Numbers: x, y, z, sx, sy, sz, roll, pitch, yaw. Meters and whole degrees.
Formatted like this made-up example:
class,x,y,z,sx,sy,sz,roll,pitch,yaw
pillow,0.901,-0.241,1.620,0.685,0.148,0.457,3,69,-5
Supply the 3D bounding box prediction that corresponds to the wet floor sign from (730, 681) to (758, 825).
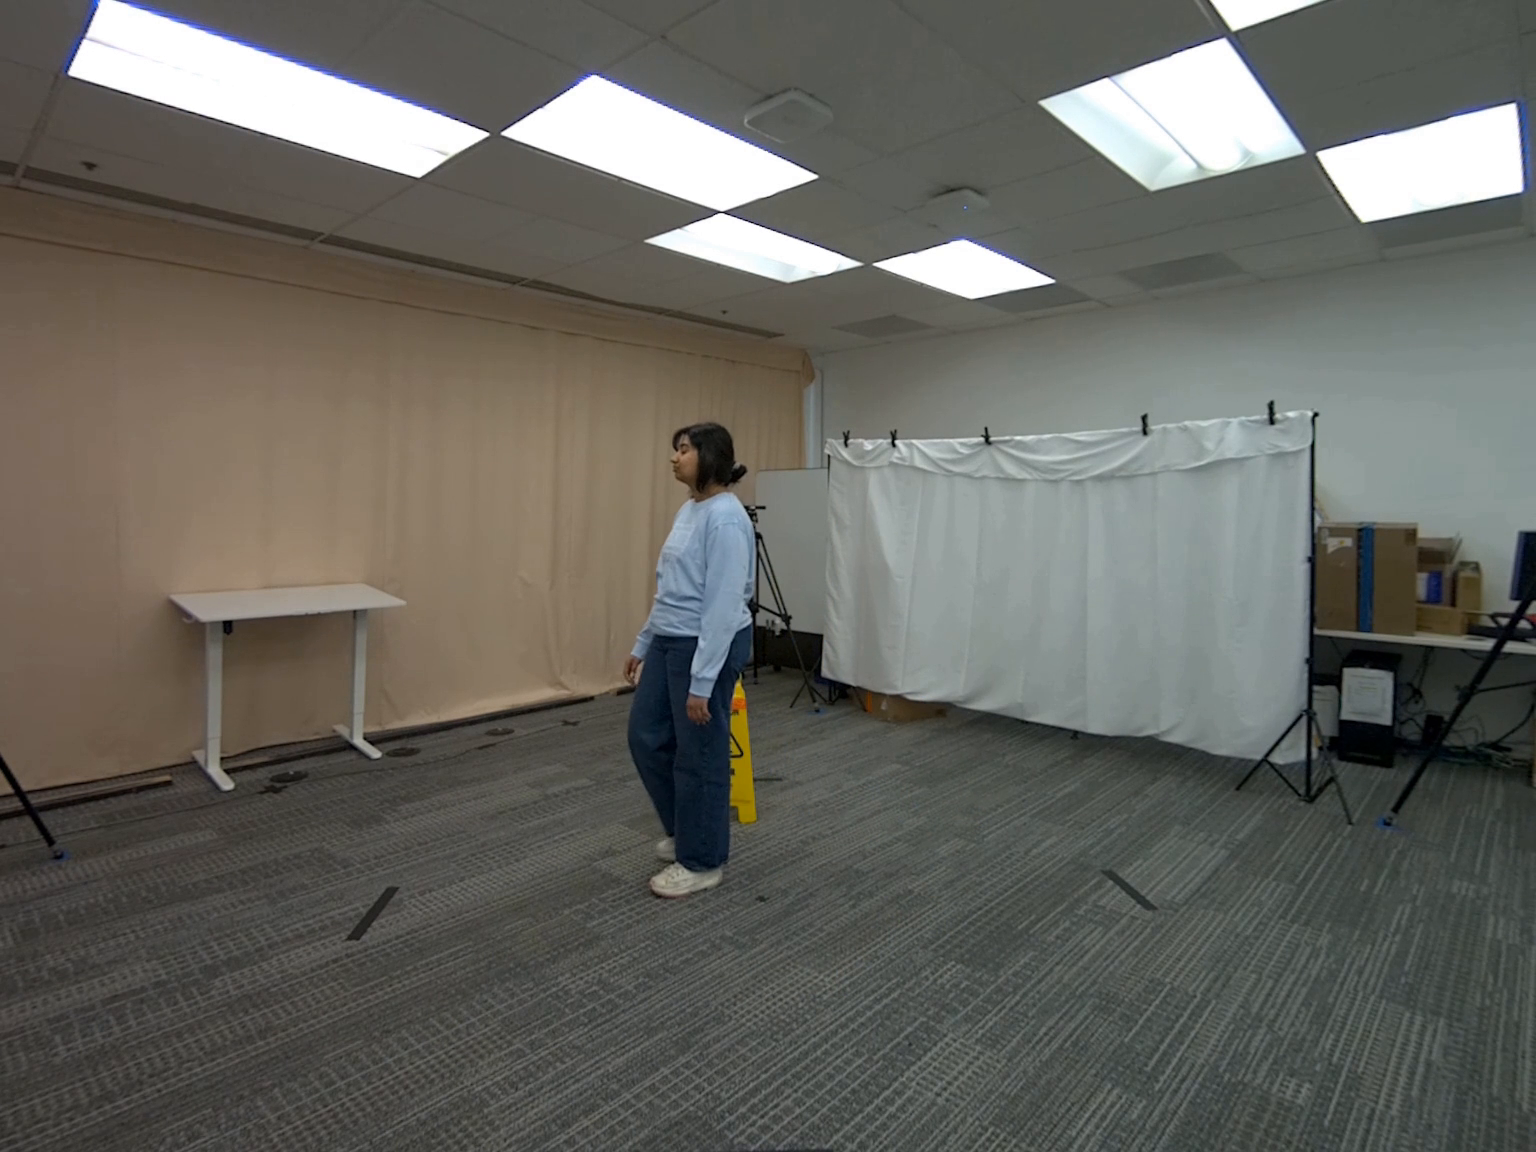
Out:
class,x,y,z,sx,sy,sz,roll,pitch,yaw
wet floor sign,-0.214,0.751,3.795,0.279,0.644,0.293,-3,4,-10
